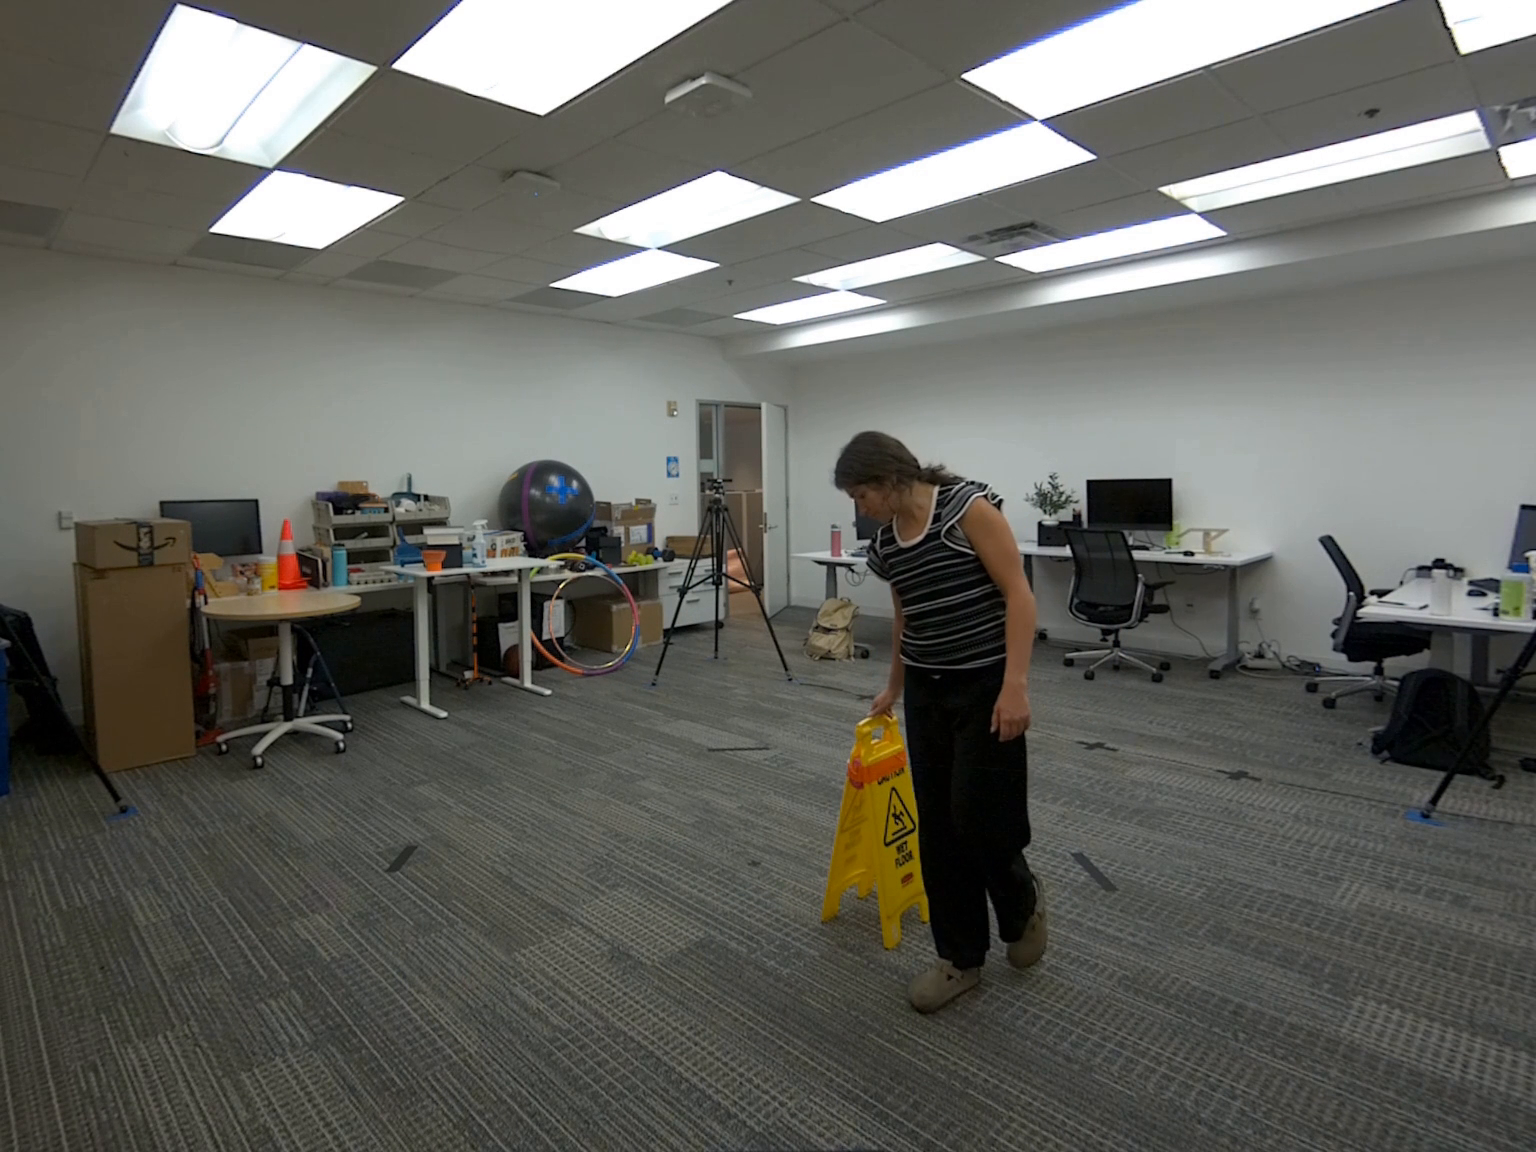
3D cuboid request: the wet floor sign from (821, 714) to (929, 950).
[{"bbox_3d":[0.352,0.762,2.679,0.299,0.643,0.275,4,6,42],"label":"wet floor sign"}]
